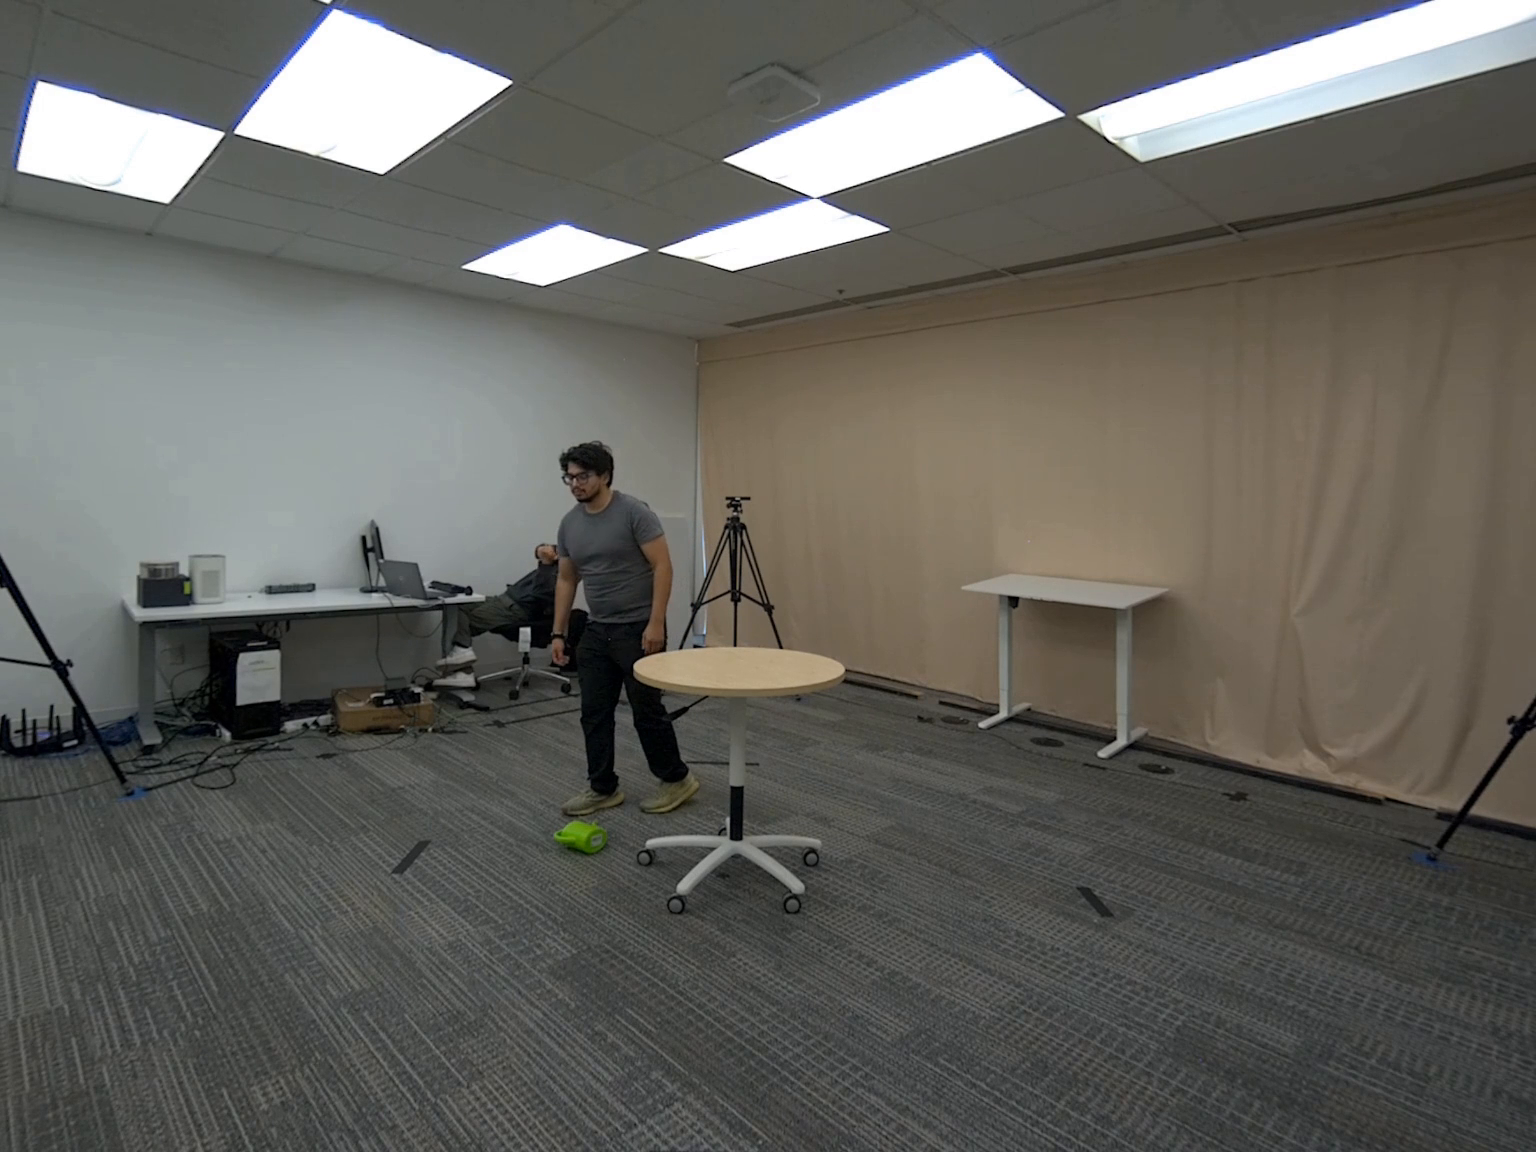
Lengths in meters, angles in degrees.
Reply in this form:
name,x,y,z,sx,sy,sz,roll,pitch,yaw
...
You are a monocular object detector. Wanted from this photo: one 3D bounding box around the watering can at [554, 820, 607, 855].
name,x,y,z,sx,sy,sz,roll,pitch,yaw
watering can,-0.729,1.023,3.358,0.181,0.097,0.274,4,12,32
